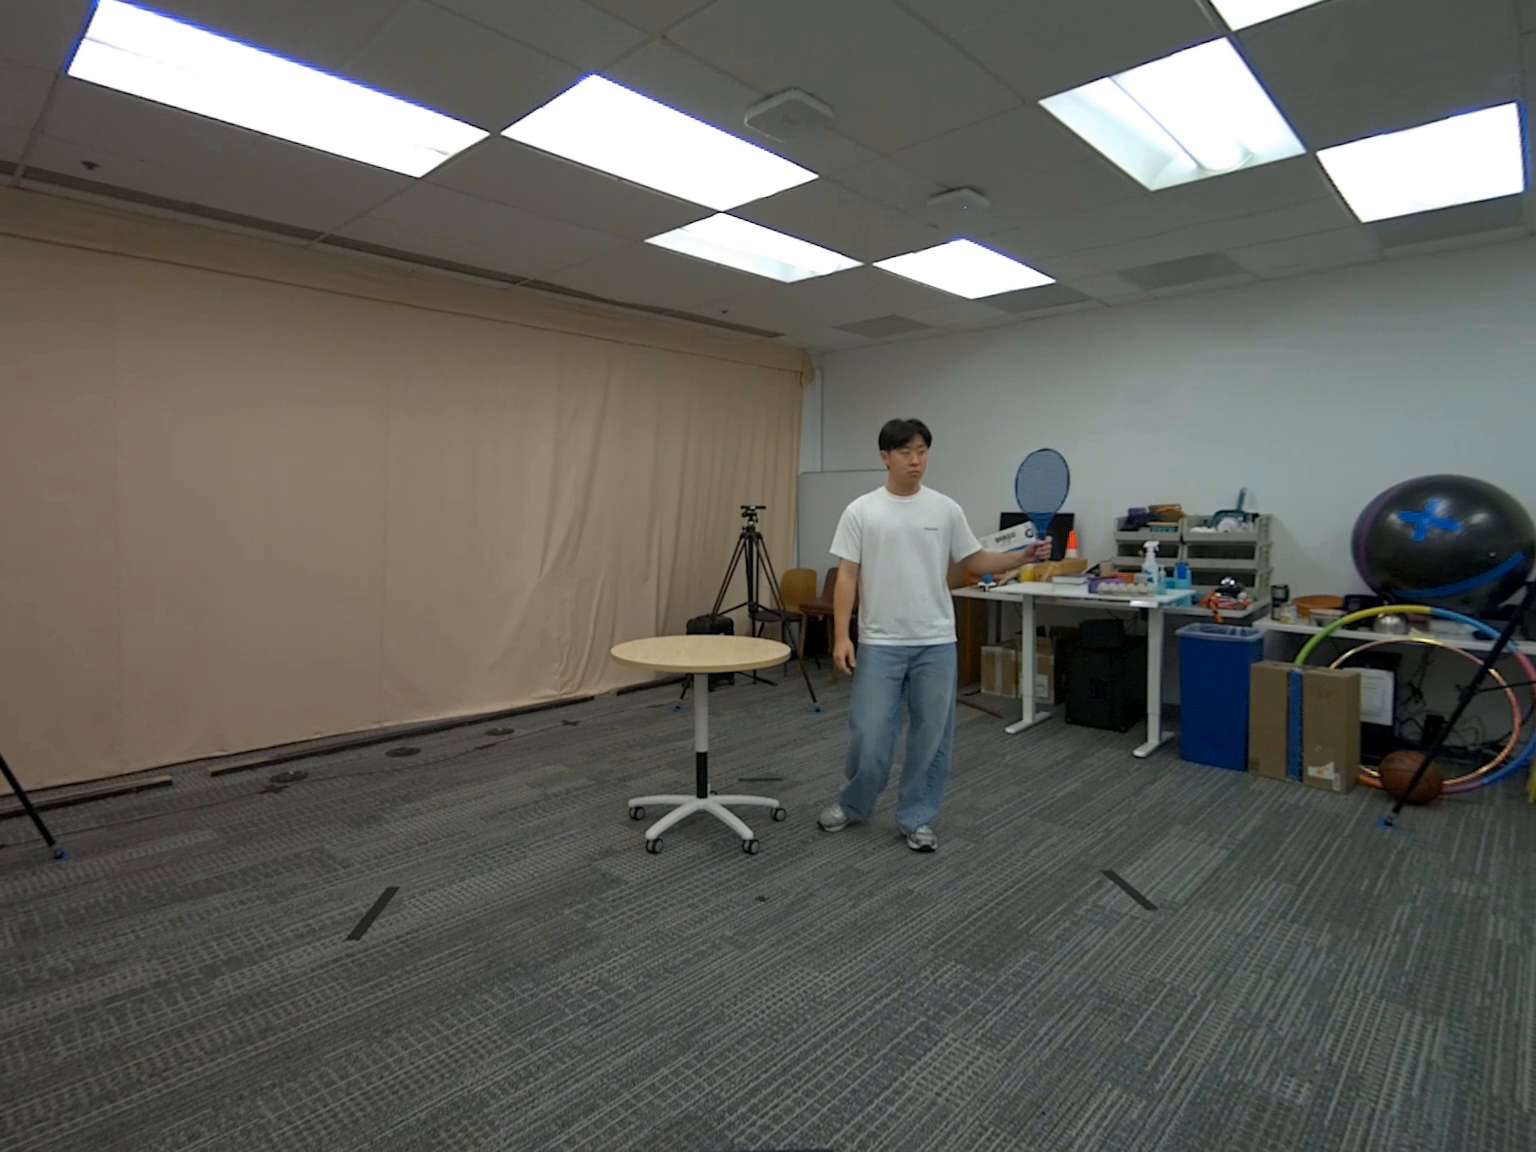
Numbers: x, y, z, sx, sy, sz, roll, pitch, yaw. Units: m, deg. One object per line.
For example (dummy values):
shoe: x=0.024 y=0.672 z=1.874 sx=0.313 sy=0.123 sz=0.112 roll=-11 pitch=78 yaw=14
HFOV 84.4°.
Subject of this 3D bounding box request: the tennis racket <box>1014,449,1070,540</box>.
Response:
tennis racket: x=1.017 y=-0.265 z=3.135 sx=0.212 sy=0.428 sz=0.032 roll=-7 pitch=15 yaw=-7
